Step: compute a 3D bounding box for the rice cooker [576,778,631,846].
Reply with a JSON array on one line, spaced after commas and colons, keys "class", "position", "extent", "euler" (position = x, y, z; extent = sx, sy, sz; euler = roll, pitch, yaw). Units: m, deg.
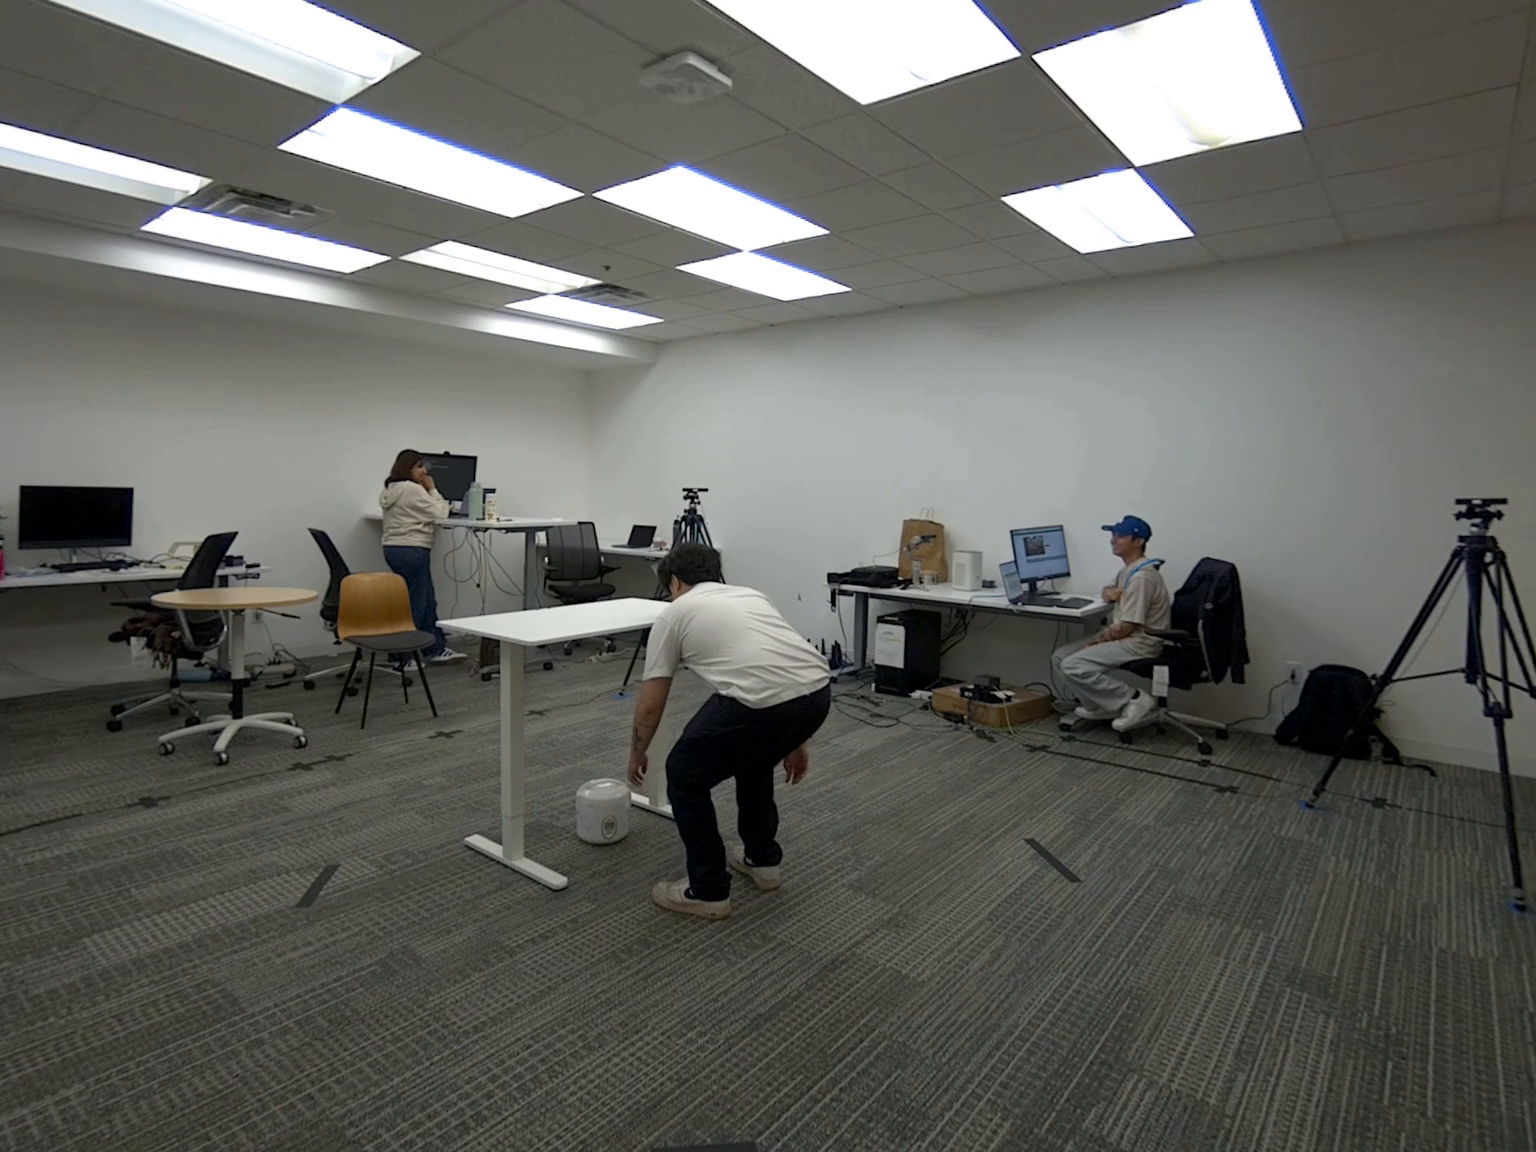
[{"class": "rice cooker", "position": [-0.666, 0.921, 3.378], "extent": [0.216, 0.232, 0.223], "euler": [-1, 4, -22]}]
